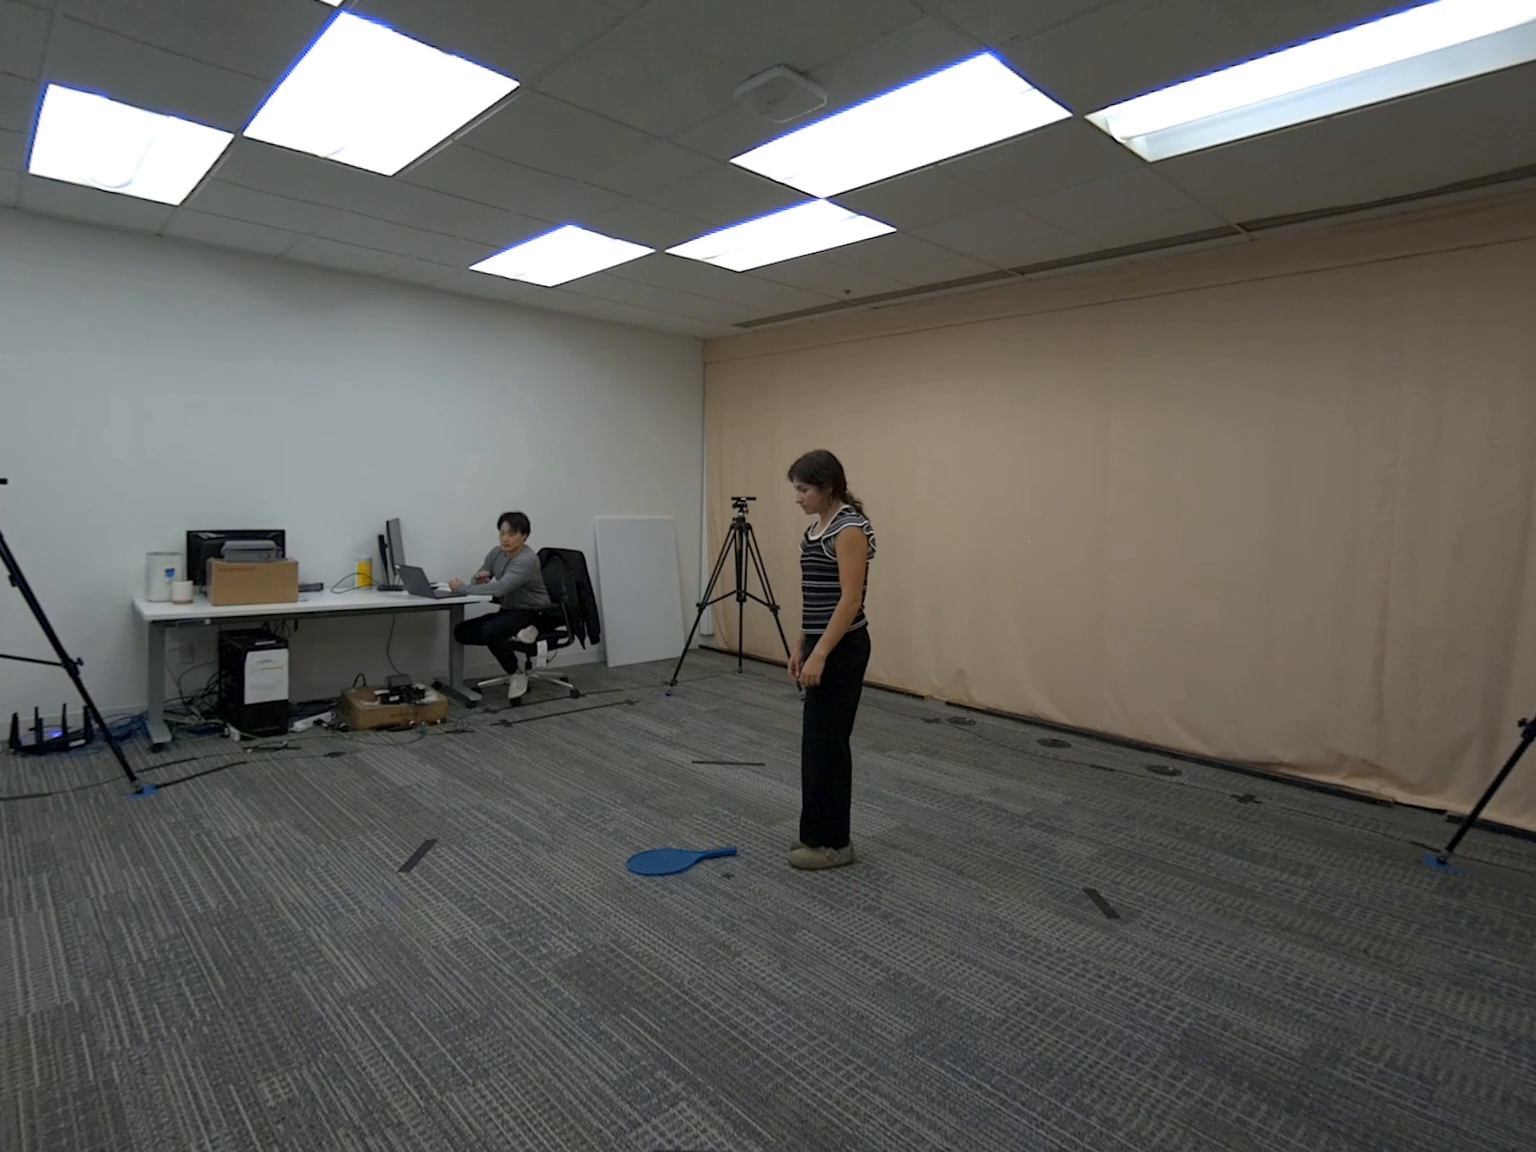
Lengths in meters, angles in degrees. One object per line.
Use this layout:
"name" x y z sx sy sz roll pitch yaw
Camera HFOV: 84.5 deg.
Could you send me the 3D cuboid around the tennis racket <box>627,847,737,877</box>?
"tennis racket" -0.334 1.077 3.217 0.427 0.031 0.217 -2 7 -19
